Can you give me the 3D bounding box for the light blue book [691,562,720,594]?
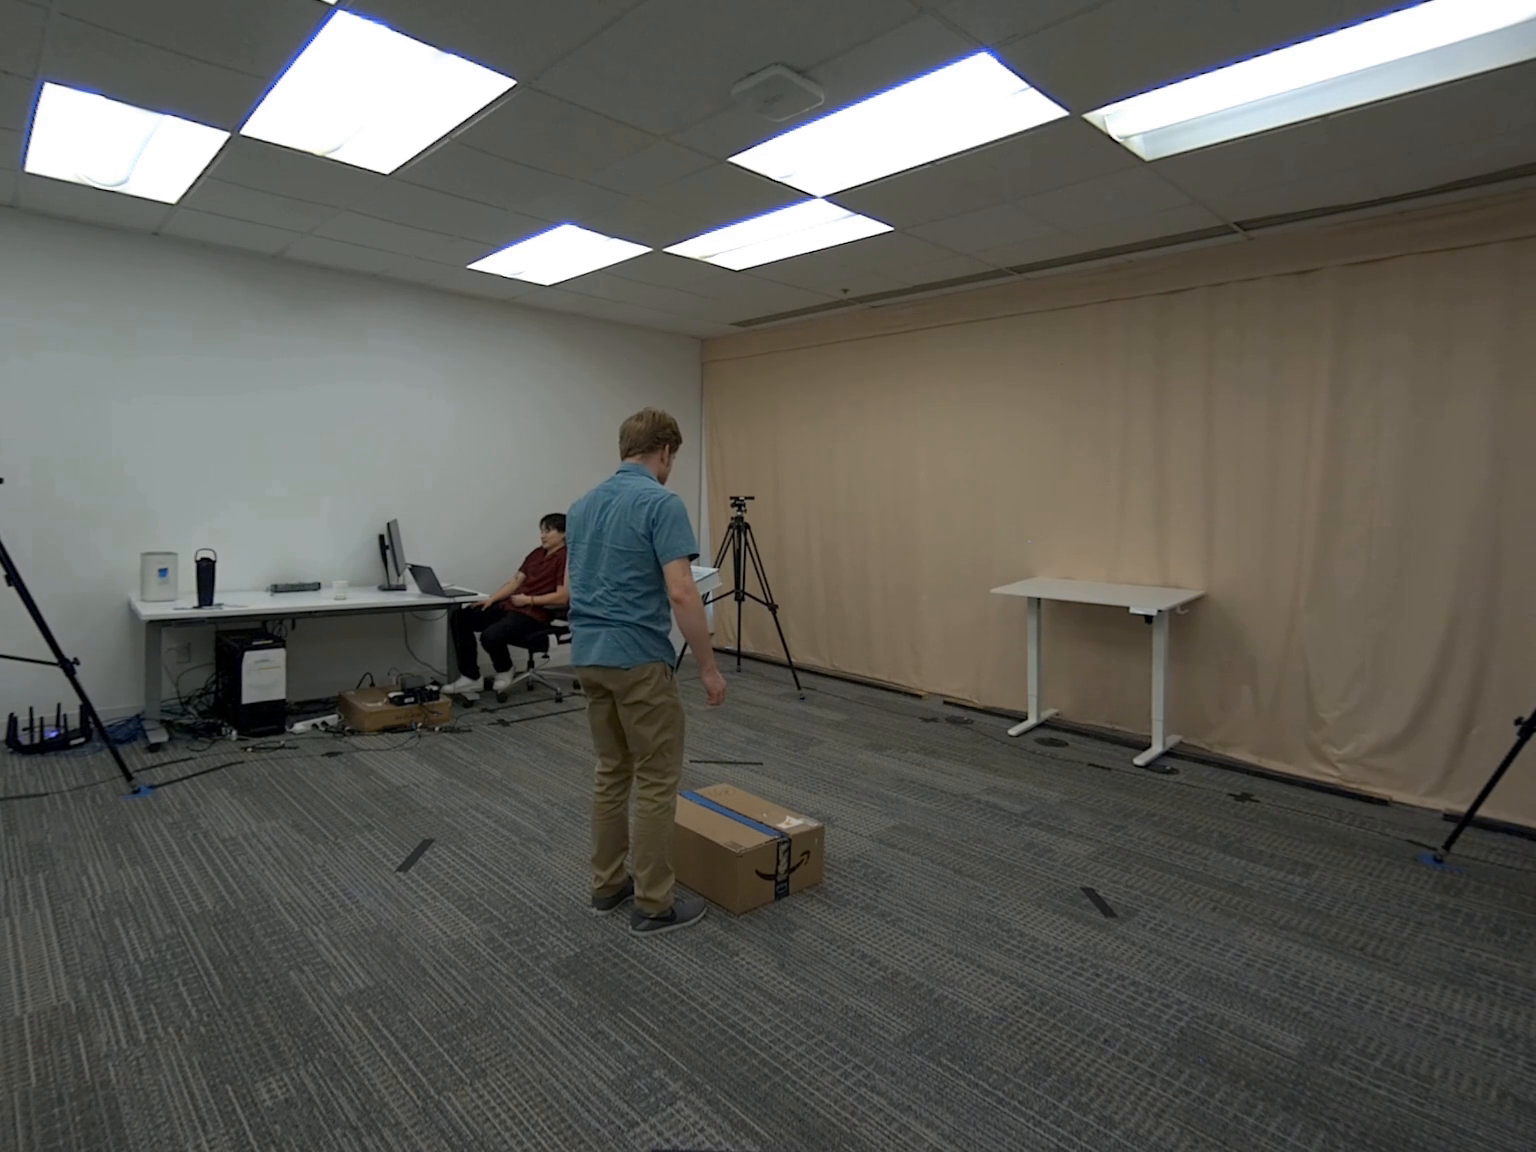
[{"bbox_3d":[-0.333,0.056,3.143,0.258,0.058,0.196,-28,23,-35],"label":"light blue book"}]
